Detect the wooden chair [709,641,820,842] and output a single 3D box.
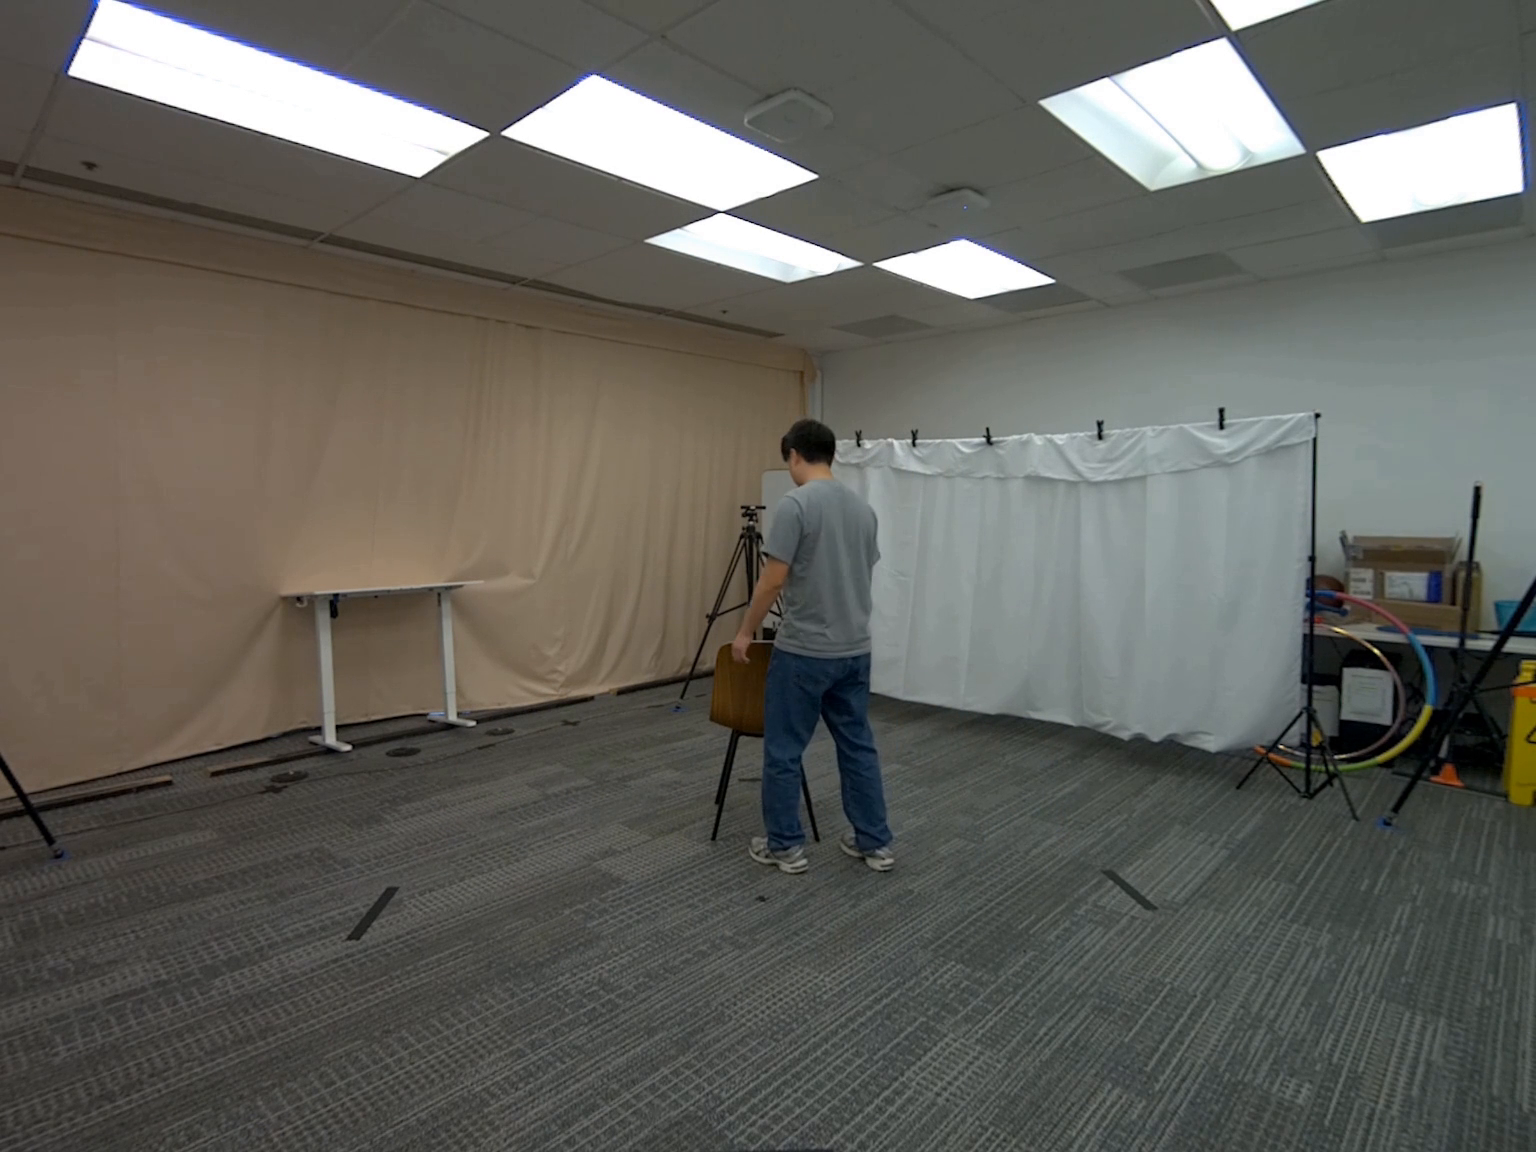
[{"bbox_3d":[-0.027,0.659,3.696,0.479,0.873,0.525,-1,7,0],"label":"wooden chair"}]
